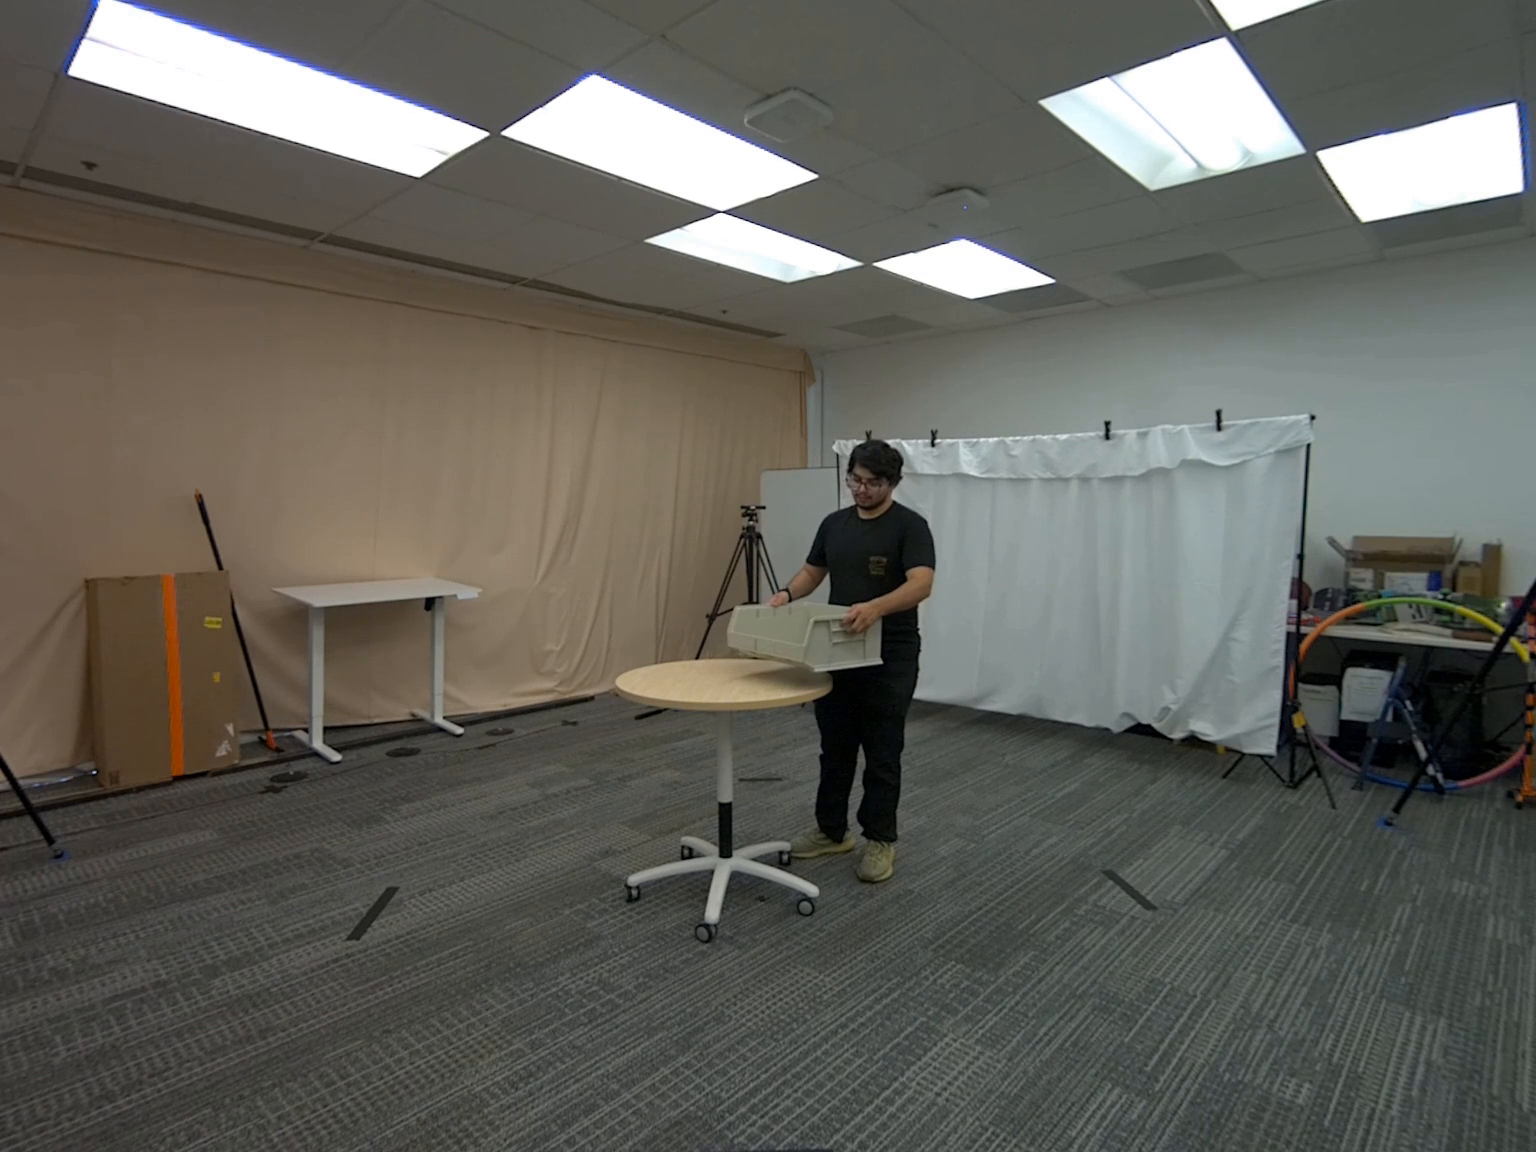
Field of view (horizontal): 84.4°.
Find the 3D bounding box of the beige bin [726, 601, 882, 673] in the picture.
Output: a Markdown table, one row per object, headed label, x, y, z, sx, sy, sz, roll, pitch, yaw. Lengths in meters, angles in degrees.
| label | x | y | z | sx | sy | sz | roll | pitch | yaw |
| --- | --- | --- | --- | --- | --- | --- | --- | --- | --- |
| beige bin | 0.131 | 0.209 | 2.950 | 0.366 | 0.189 | 0.436 | -1 | 3 | -38 |
